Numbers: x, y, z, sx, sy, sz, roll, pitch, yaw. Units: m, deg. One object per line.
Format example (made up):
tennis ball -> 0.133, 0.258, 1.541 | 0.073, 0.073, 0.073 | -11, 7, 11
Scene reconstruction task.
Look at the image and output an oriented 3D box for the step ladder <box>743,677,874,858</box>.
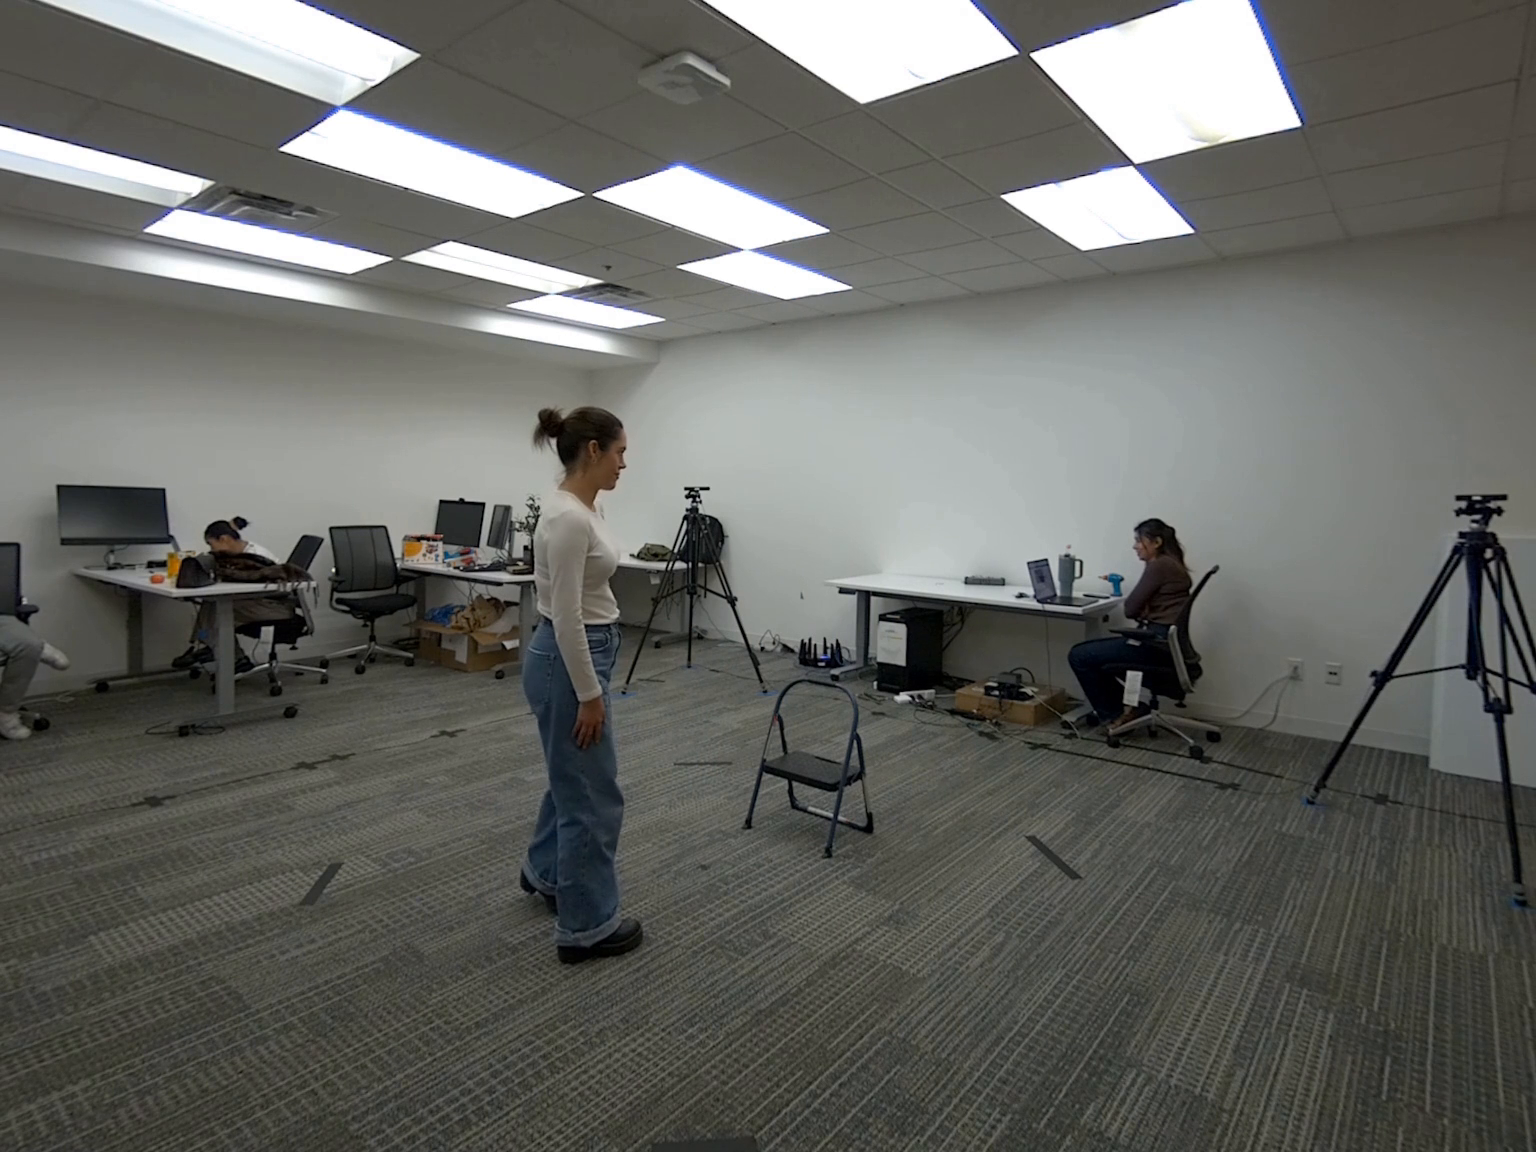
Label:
step ladder -> 0.166, 0.734, 3.461 | 0.445, 0.604, 0.339 | 4, 5, 39
